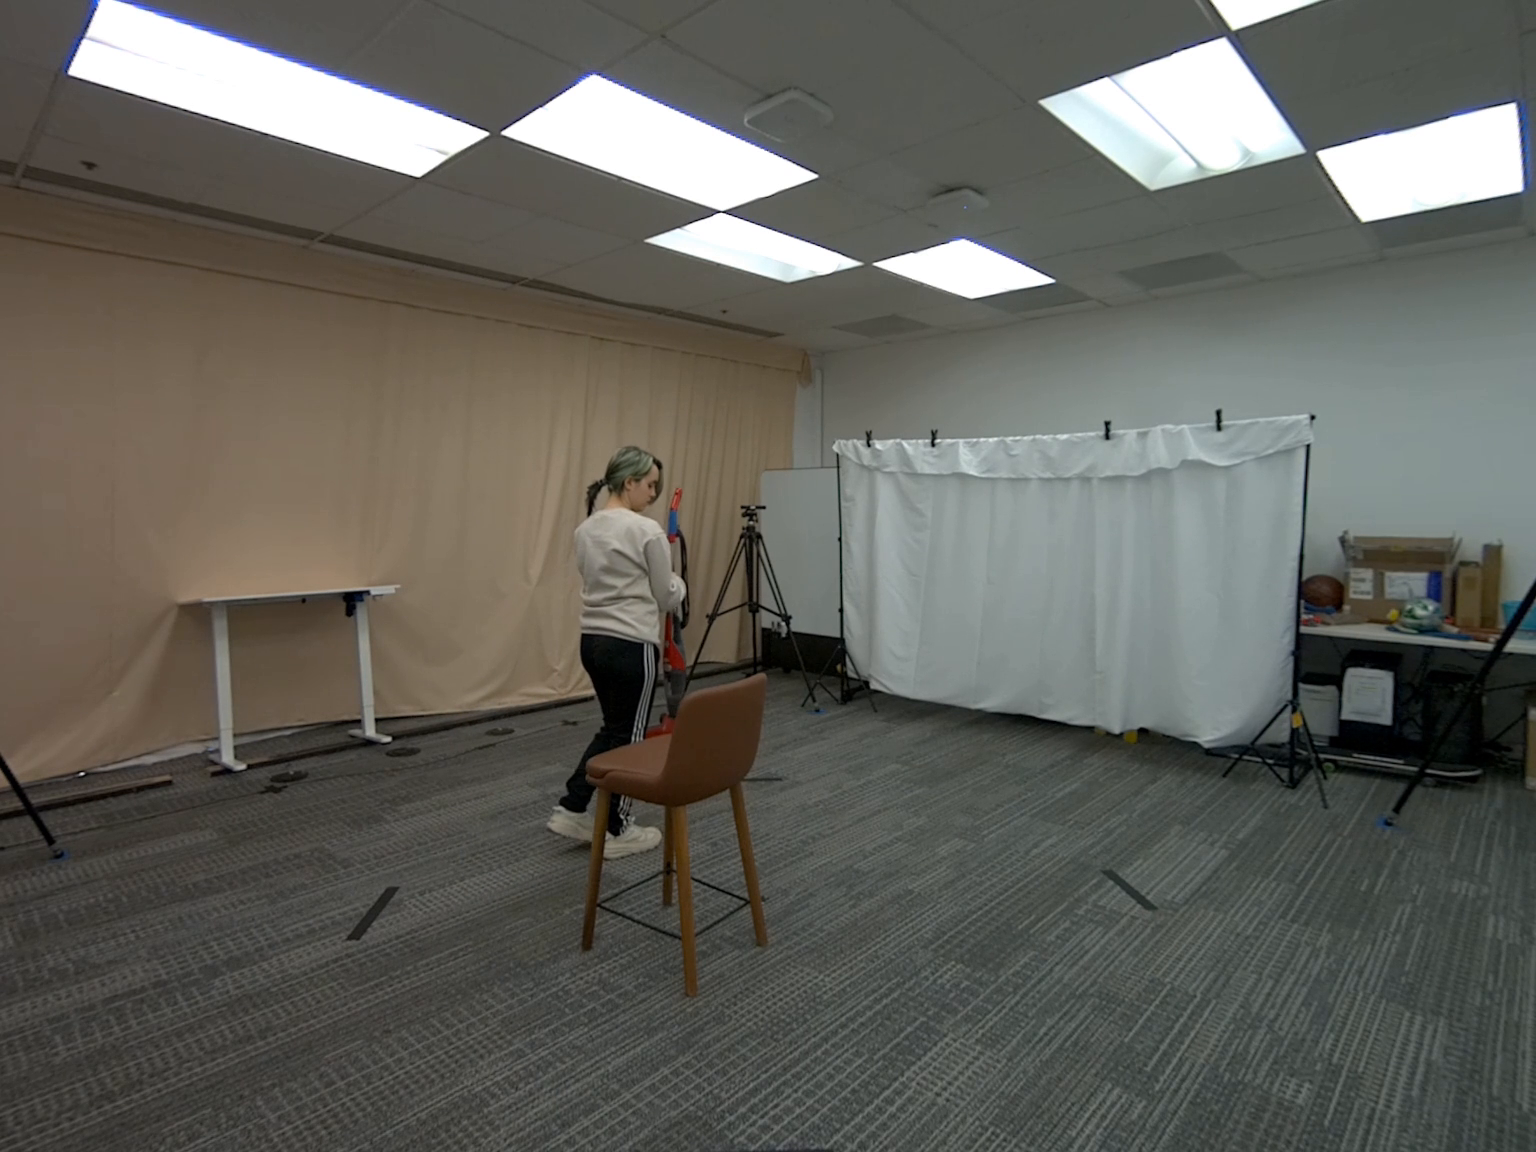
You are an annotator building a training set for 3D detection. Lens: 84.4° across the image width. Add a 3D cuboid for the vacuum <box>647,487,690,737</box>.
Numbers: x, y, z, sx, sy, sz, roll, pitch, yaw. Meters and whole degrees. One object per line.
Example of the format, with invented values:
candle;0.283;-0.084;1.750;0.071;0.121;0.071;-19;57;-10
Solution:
vacuum;-0.401;0.145;3.661;0.259;1.049;0.140;3;0;23
